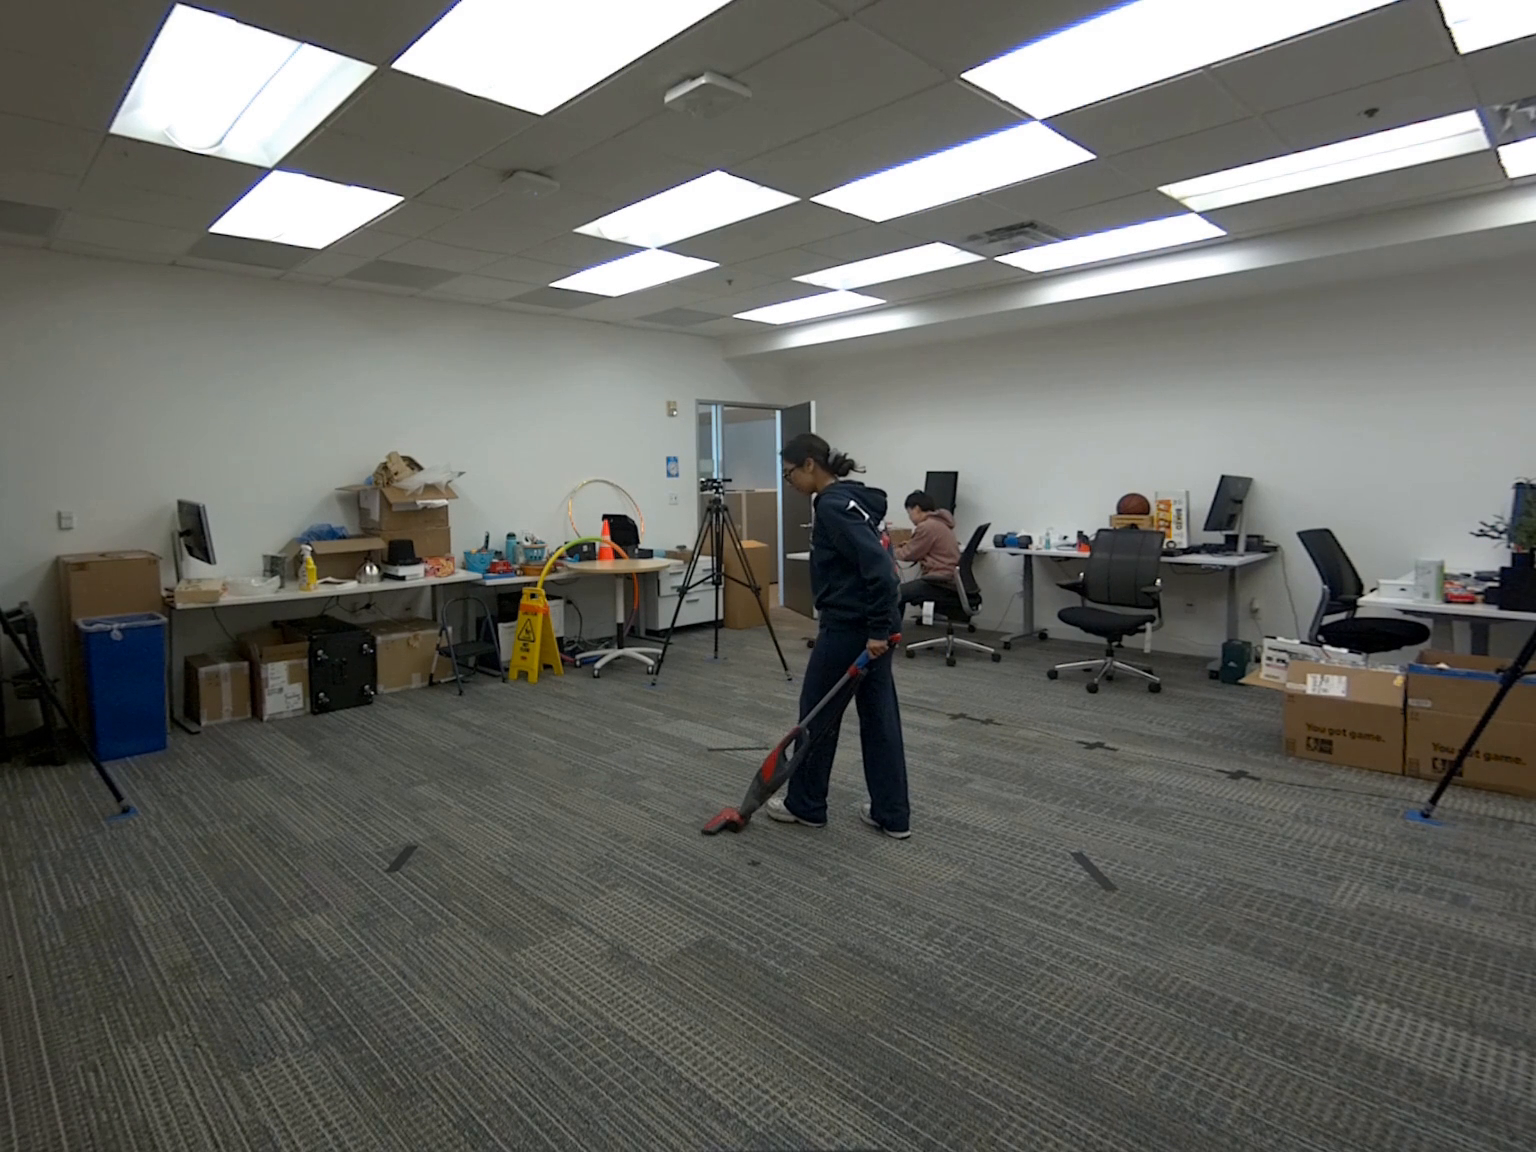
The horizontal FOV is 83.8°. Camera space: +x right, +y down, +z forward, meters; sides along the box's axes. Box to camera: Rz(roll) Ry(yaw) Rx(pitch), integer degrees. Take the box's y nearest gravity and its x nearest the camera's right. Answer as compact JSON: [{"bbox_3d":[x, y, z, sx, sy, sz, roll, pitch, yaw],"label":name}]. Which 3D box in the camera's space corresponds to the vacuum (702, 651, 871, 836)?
[{"bbox_3d":[0.130,0.610,3.278,0.147,1.047,0.248,44,20,13],"label":"vacuum"}]
